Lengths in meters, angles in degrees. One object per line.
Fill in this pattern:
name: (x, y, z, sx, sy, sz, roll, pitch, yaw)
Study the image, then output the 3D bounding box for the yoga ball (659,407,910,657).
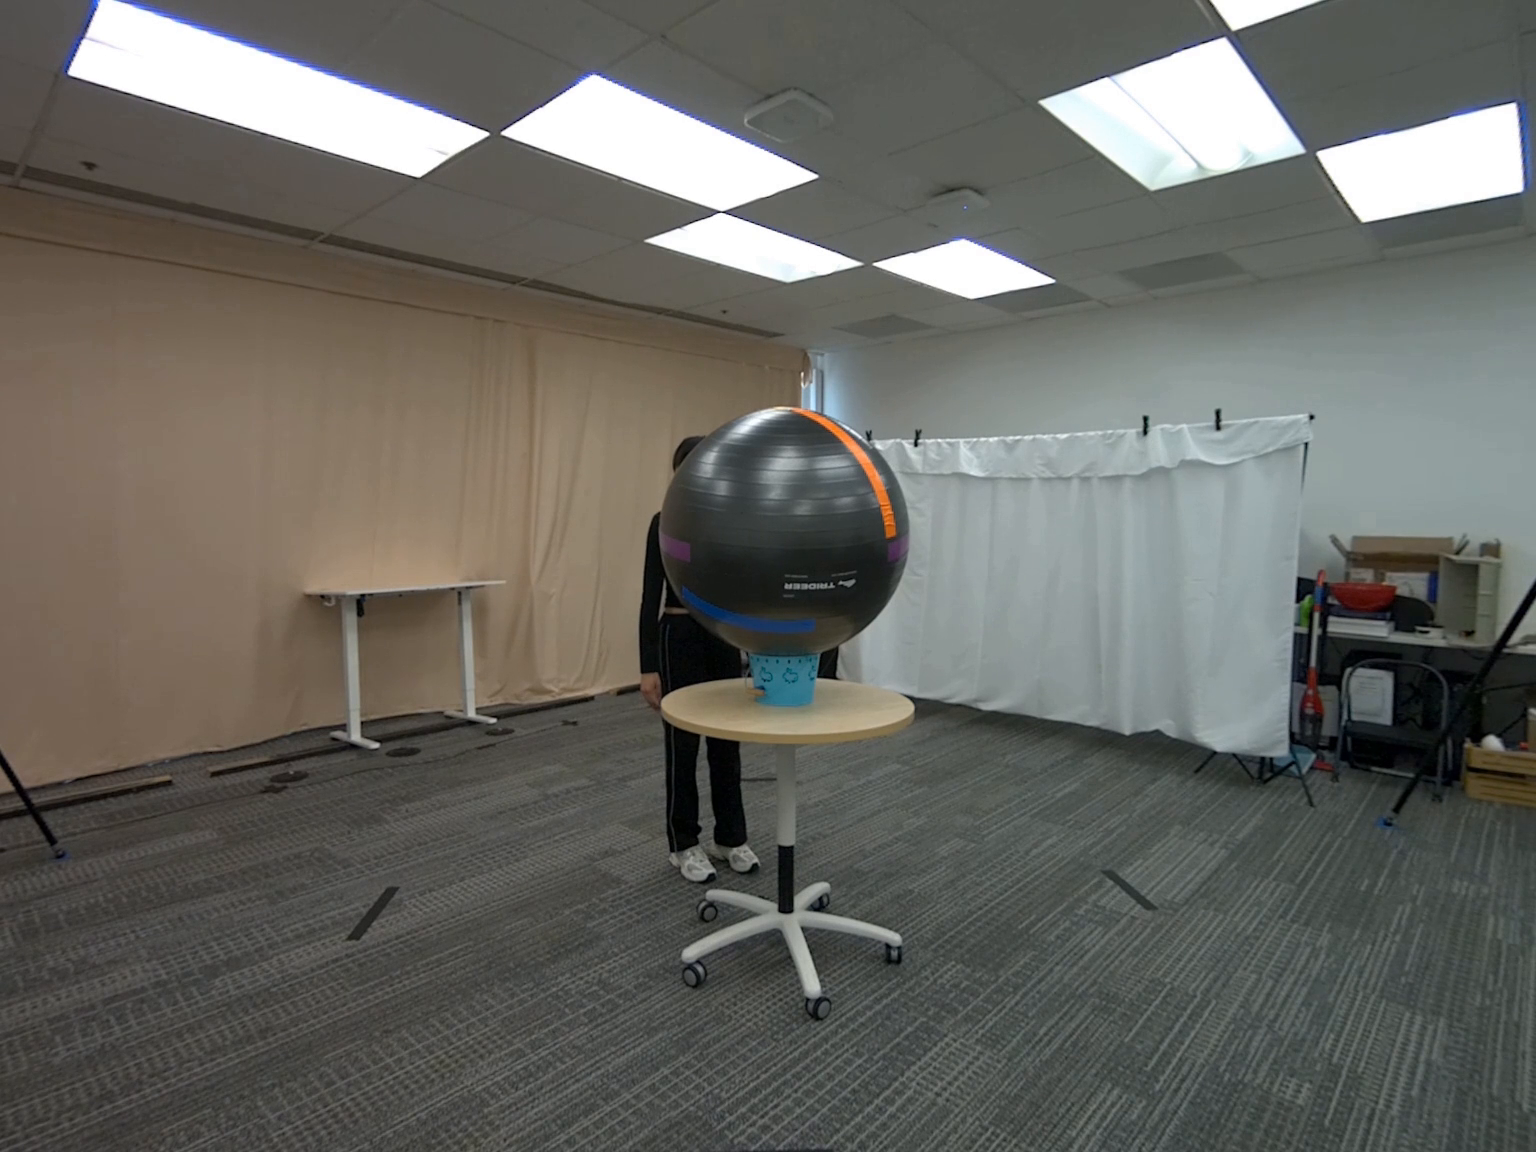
yoga ball: (0.048, -0.121, 2.581, 0.757, 0.756, 0.760, 0, 4, -2)
